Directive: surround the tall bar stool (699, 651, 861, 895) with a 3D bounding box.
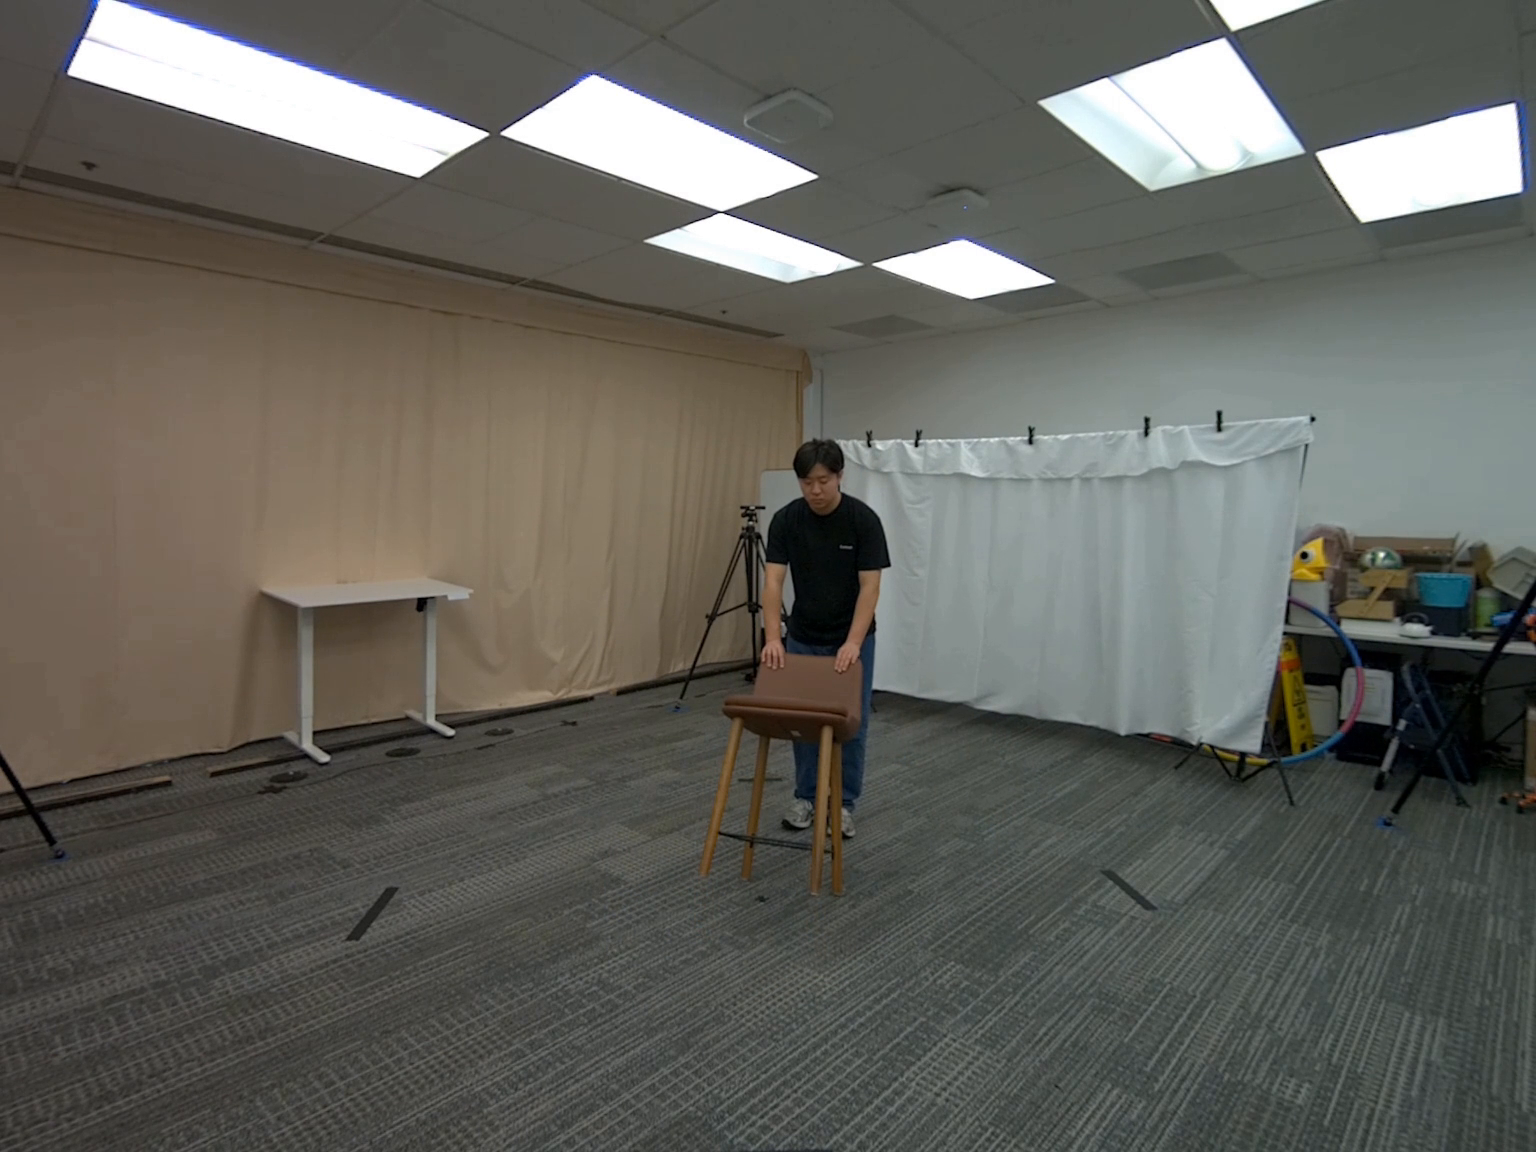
[{"bbox_3d":[0.083,0.656,3.041,0.466,0.898,0.453,0,-23,20],"label":"tall bar stool"}]
